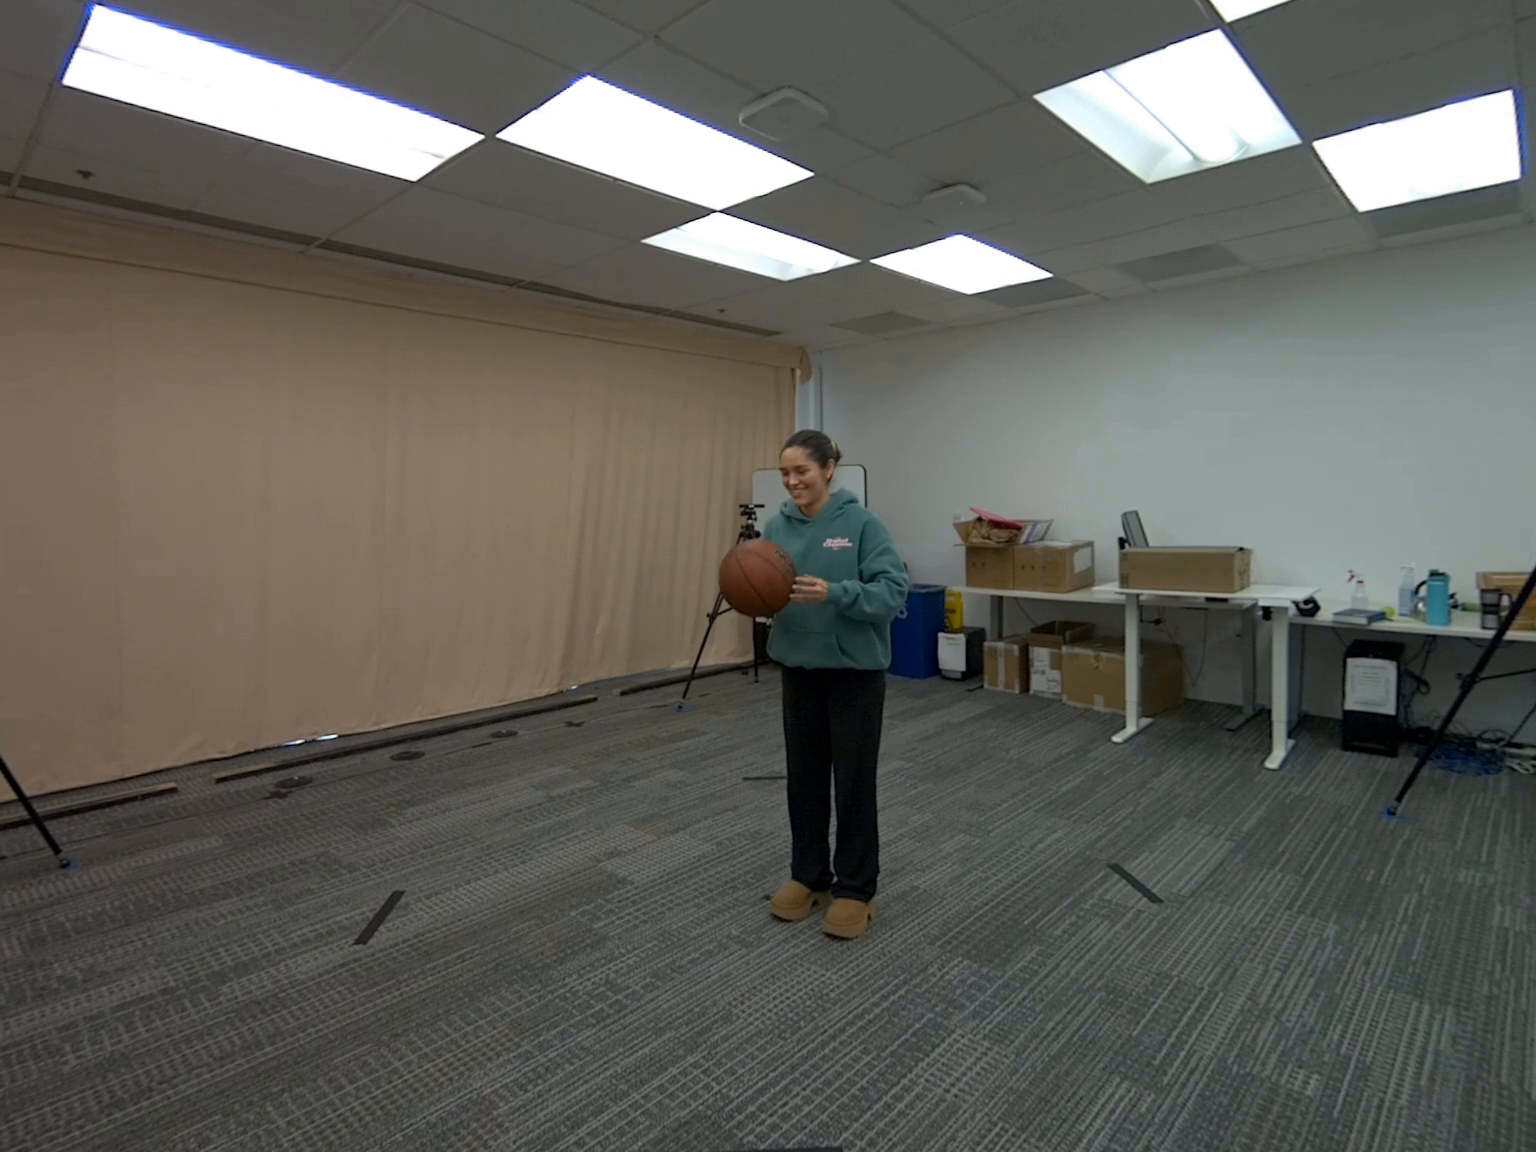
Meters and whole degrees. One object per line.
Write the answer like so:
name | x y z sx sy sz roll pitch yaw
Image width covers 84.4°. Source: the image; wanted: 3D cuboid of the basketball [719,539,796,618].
basketball | -0.029 0.031 2.534 0.236 0.235 0.237 -1 4 -2
